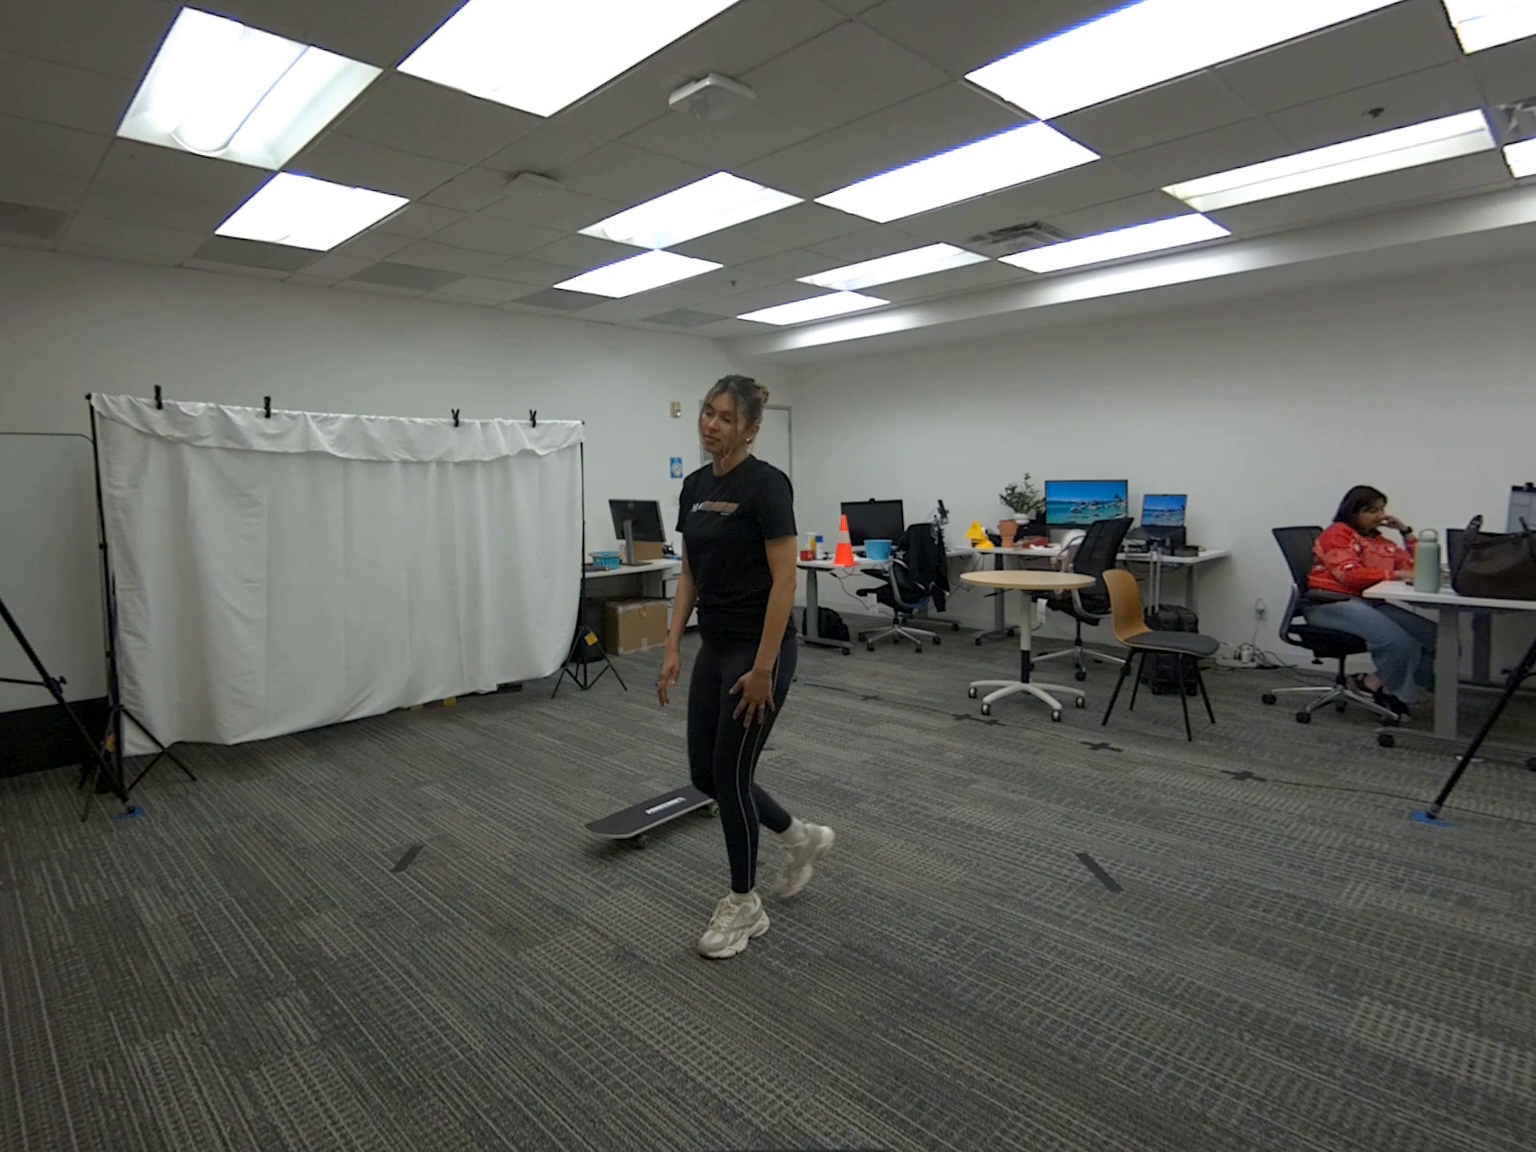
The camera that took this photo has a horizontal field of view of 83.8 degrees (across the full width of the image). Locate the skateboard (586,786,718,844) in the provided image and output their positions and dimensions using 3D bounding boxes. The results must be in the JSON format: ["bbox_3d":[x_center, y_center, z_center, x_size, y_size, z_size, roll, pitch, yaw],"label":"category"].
[{"bbox_3d":[-0.413,0.955,3.459,0.199,0.110,0.765,4,8,39],"label":"skateboard"}]
